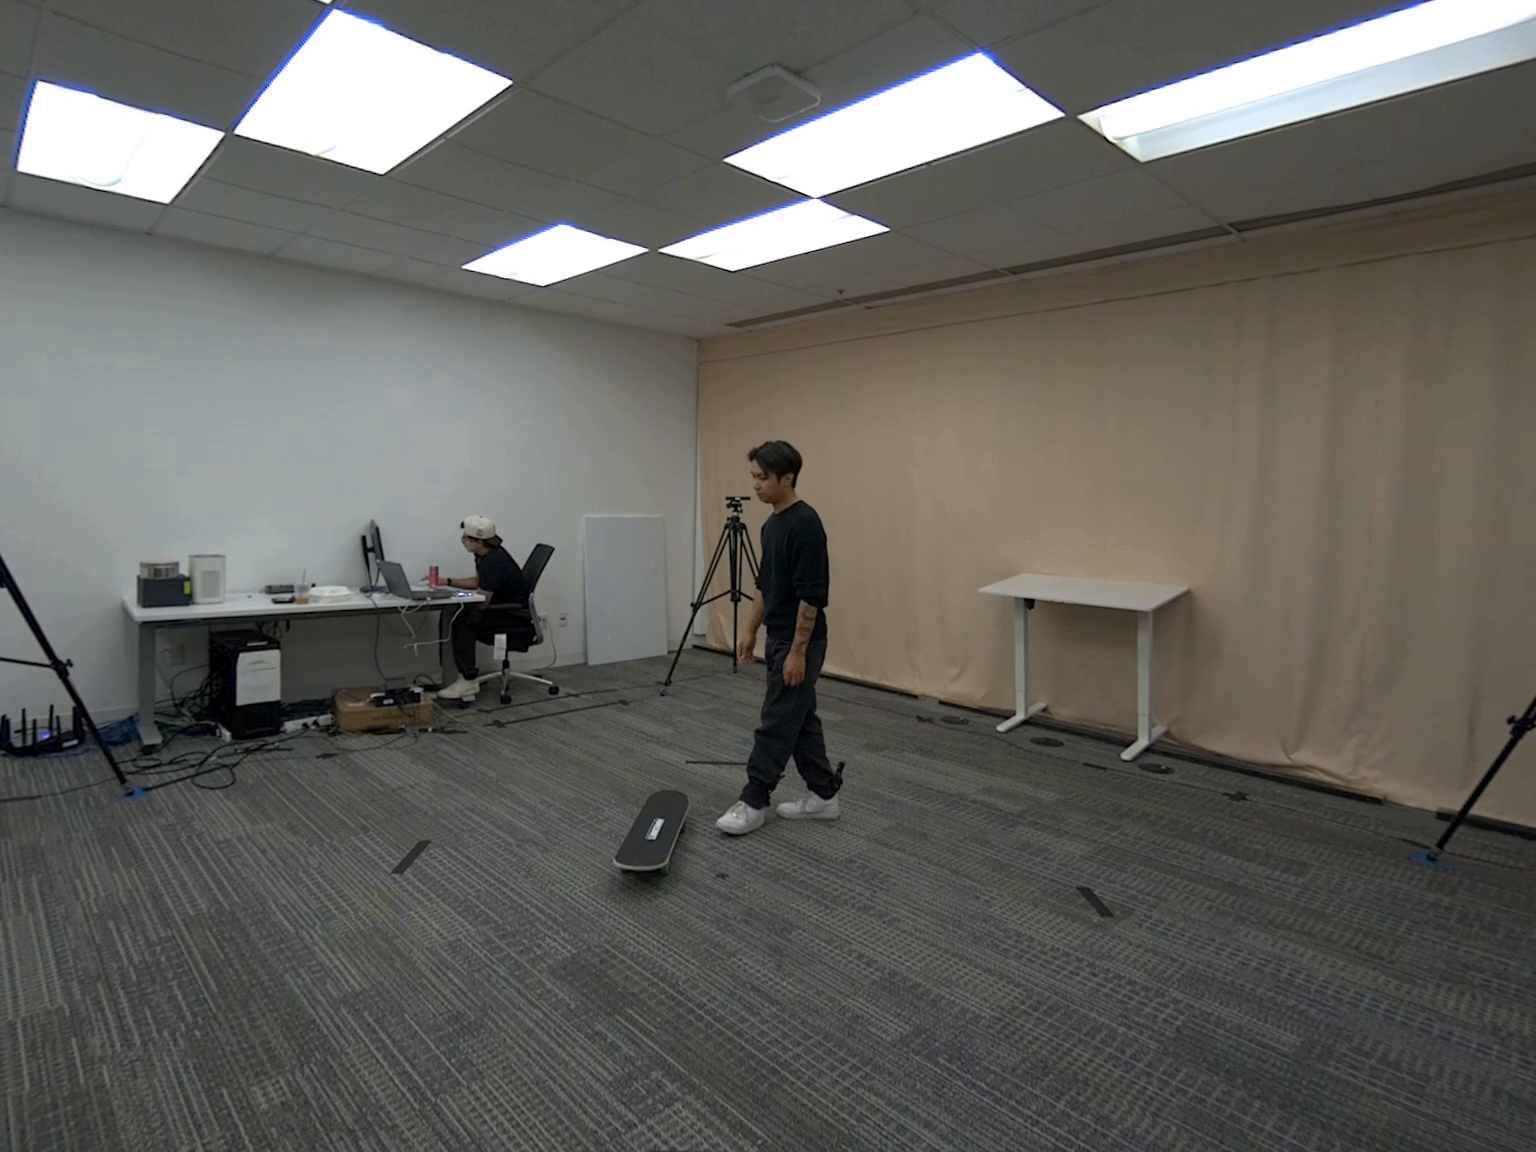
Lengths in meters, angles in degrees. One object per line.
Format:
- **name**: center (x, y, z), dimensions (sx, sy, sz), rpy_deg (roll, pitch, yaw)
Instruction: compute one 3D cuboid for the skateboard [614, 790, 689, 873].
- **skateboard**: center (-0.454, 1.025, 3.305), dimensions (0.194, 0.110, 0.785), rpy_deg (1, 5, 2)
